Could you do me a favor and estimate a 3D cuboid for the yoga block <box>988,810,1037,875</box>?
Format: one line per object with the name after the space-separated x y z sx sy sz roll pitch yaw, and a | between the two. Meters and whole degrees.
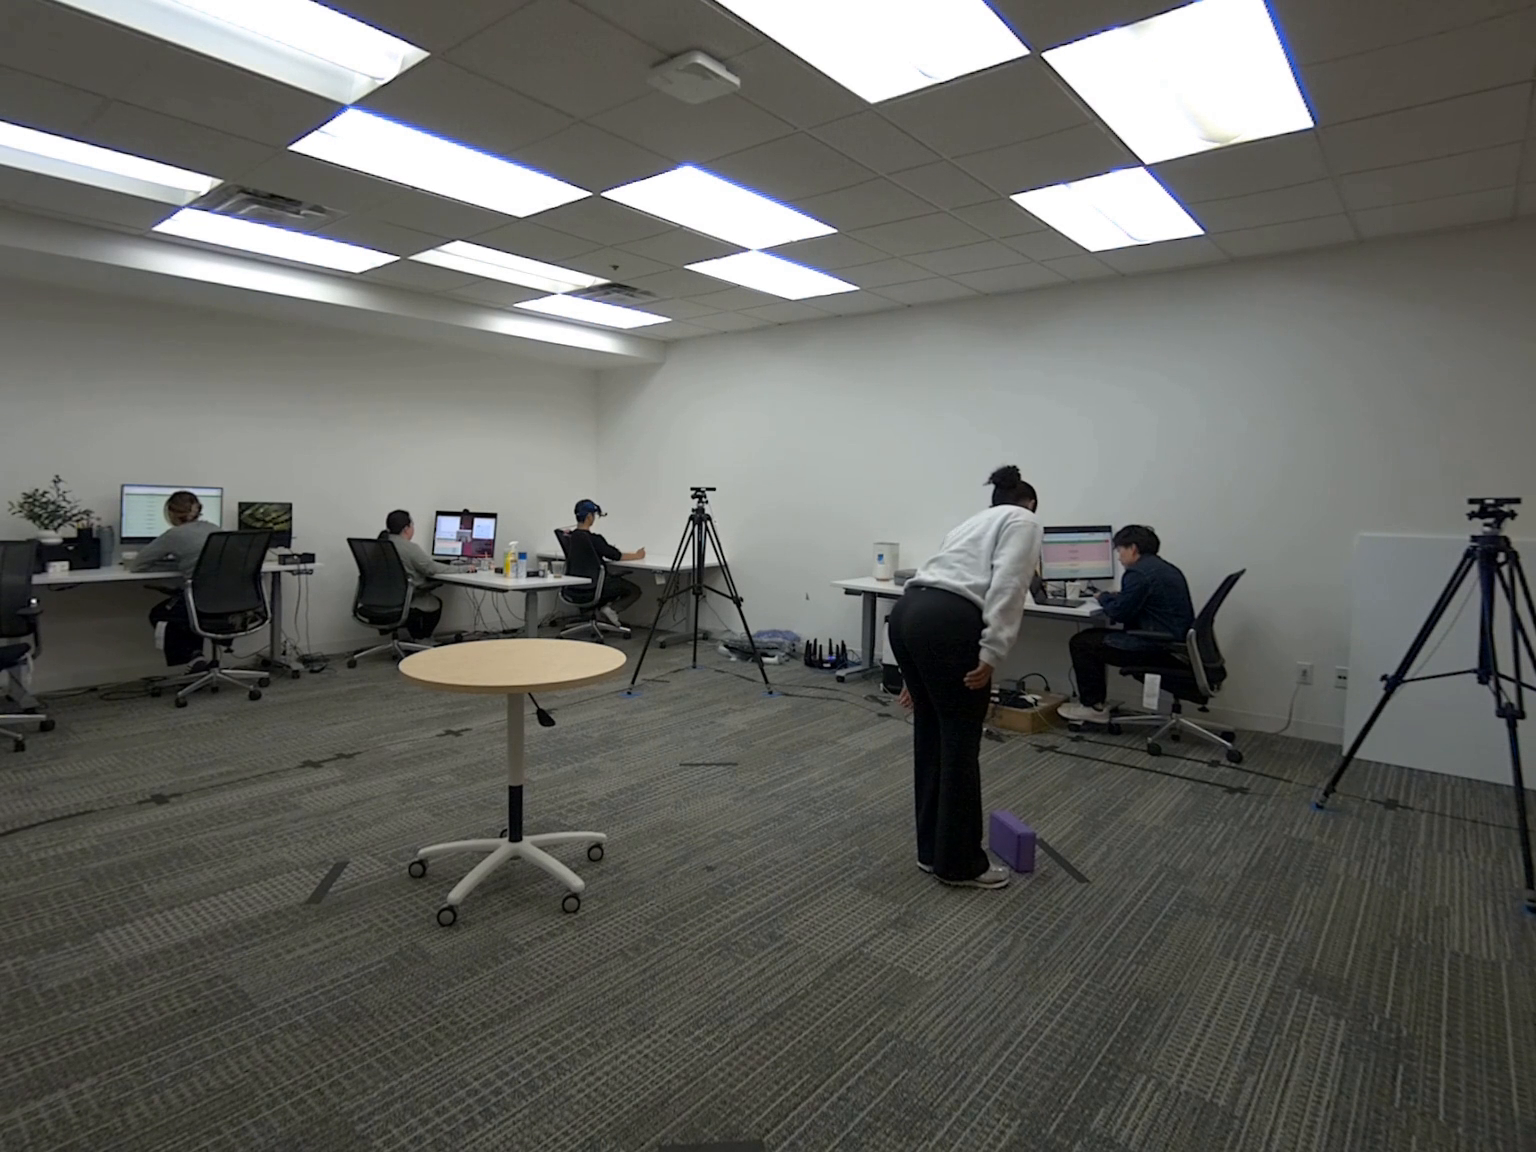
0.922 1.005 3.245 0.075 0.148 0.233 0 5 -14 | yoga block
